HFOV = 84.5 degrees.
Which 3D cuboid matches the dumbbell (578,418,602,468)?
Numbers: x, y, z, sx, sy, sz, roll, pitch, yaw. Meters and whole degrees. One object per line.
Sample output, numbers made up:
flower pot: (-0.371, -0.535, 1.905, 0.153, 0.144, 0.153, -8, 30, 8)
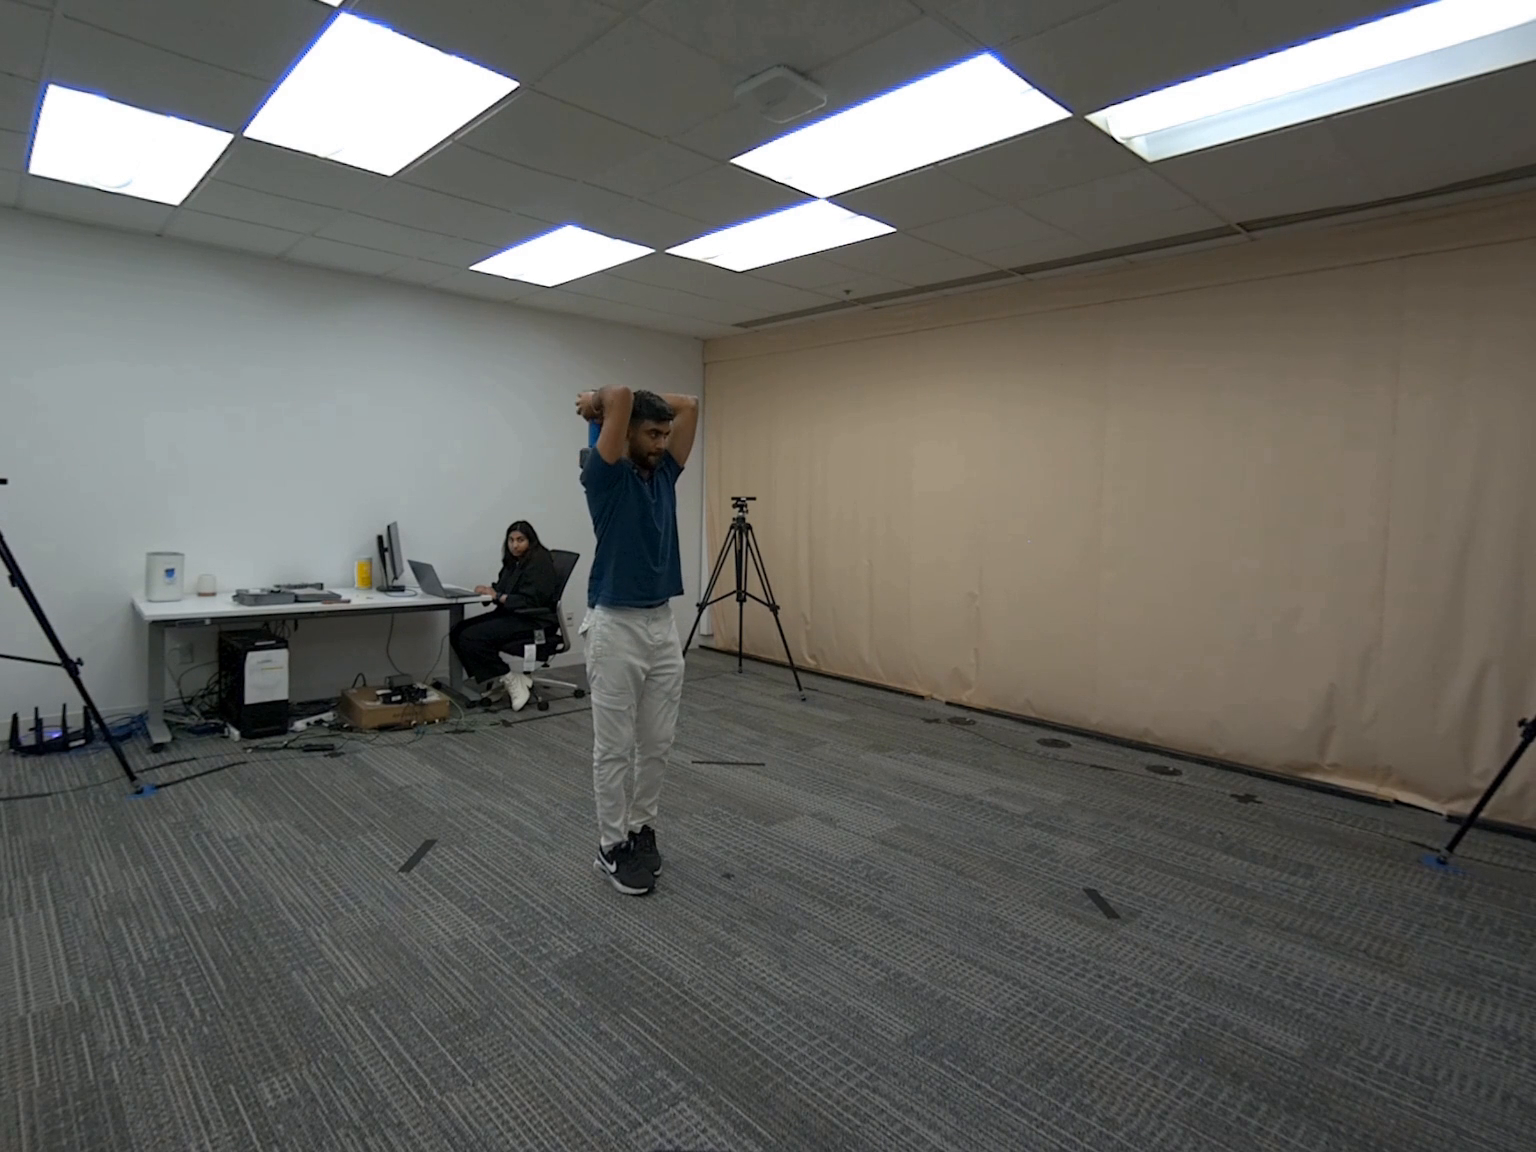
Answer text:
dumbbell: (-0.636, -0.538, 3.119, 0.126, 0.290, 0.107, 12, 19, 41)
